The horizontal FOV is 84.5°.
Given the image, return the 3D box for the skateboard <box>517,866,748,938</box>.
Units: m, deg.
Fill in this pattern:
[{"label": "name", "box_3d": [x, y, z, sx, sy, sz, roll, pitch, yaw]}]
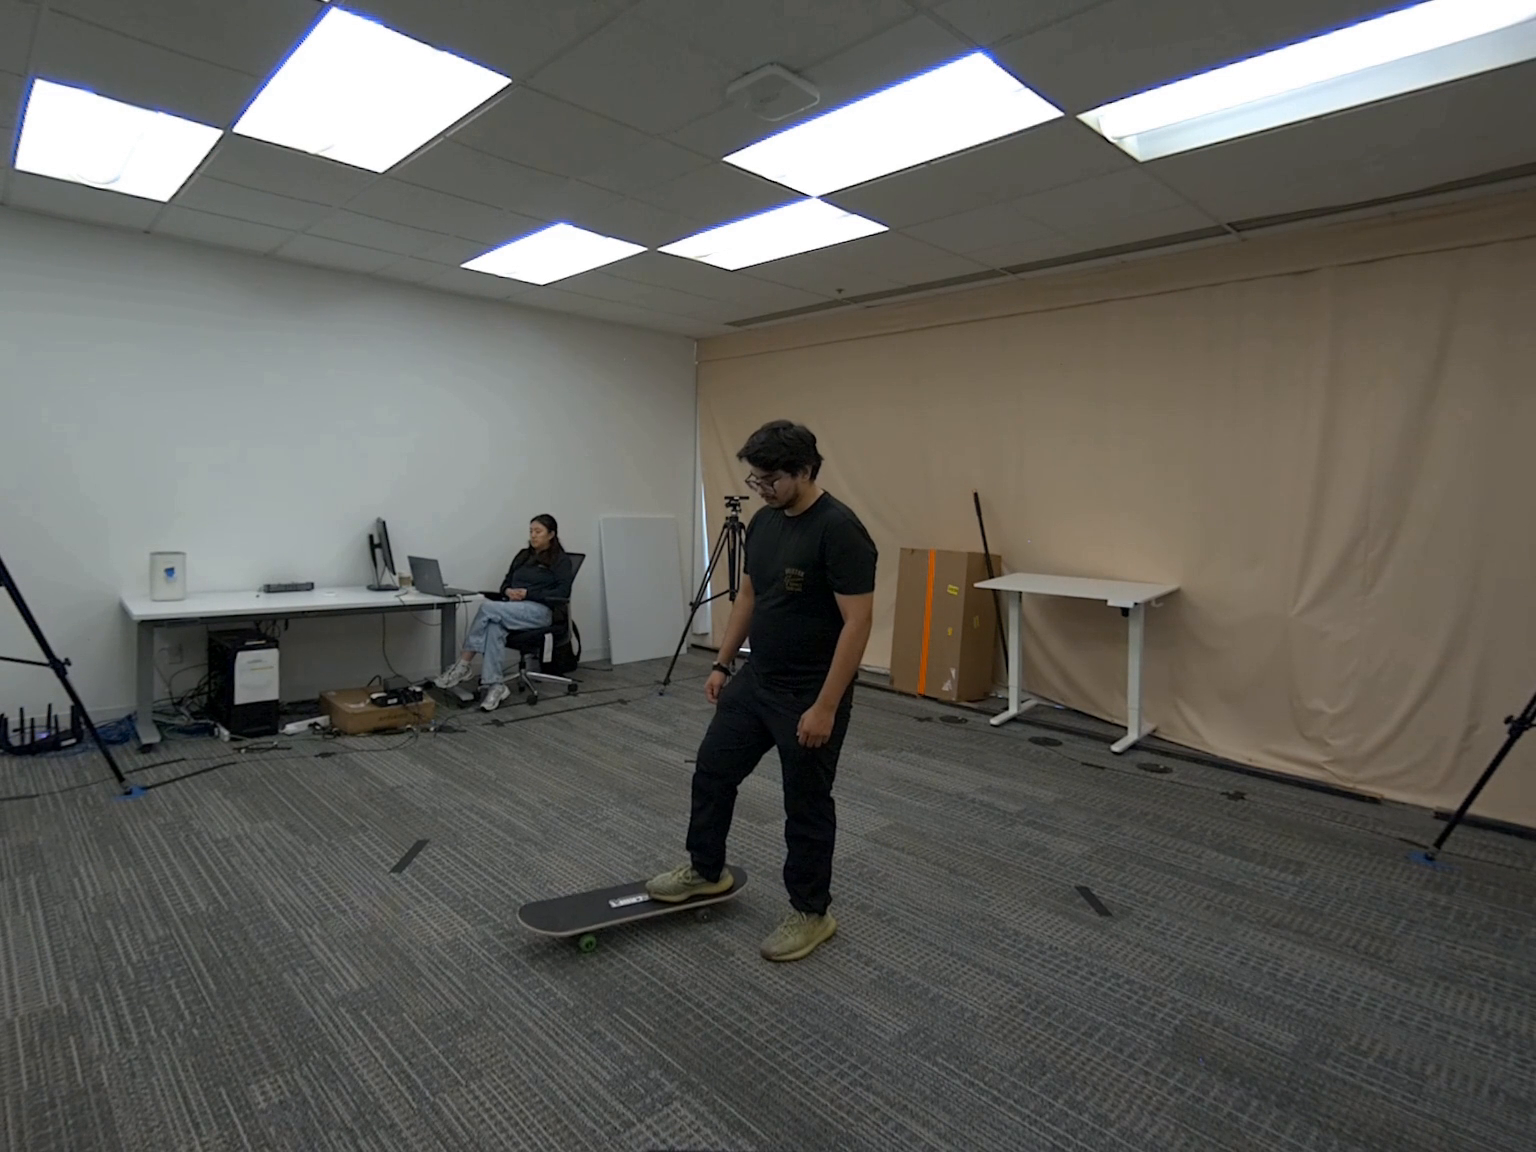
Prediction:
[{"label": "skateboard", "box_3d": [-0.419, 1.070, 2.721, 0.770, 0.110, 0.198, 0, 9, -29]}]
